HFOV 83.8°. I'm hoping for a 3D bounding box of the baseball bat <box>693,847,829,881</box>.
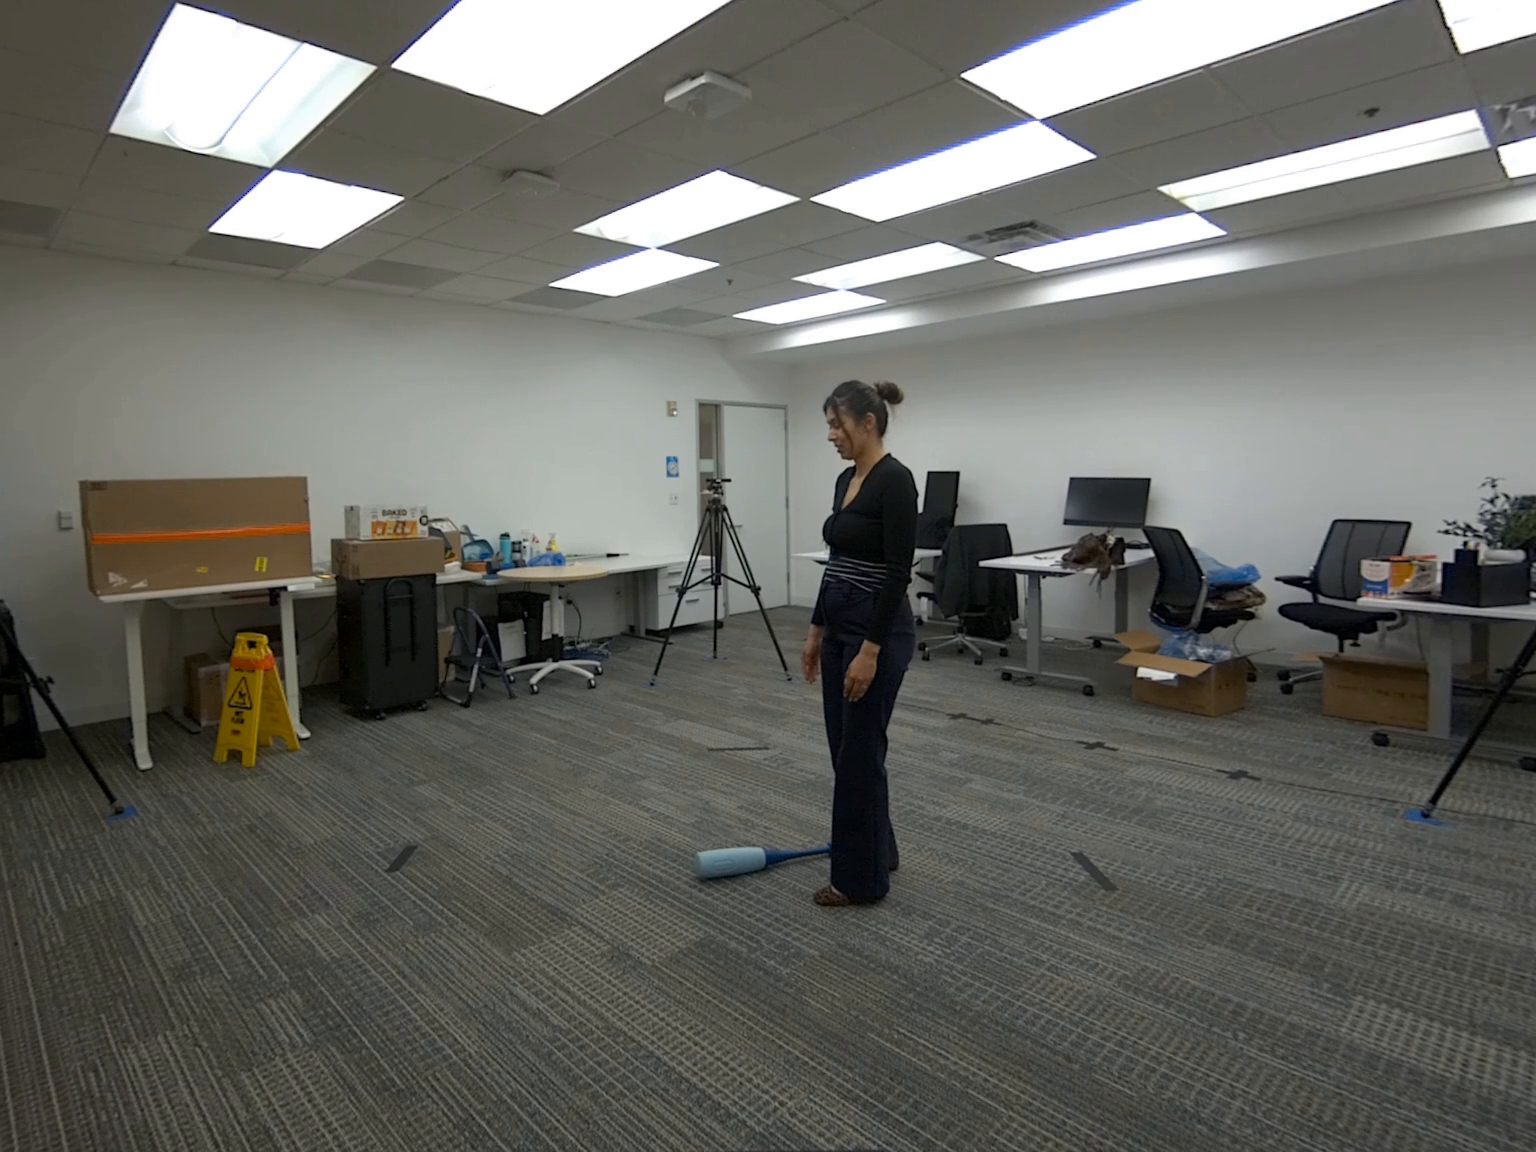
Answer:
[{"bbox_3d":[-0.001,1.012,3.068,0.533,0.089,0.091,1,4,-20],"label":"baseball bat"}]
